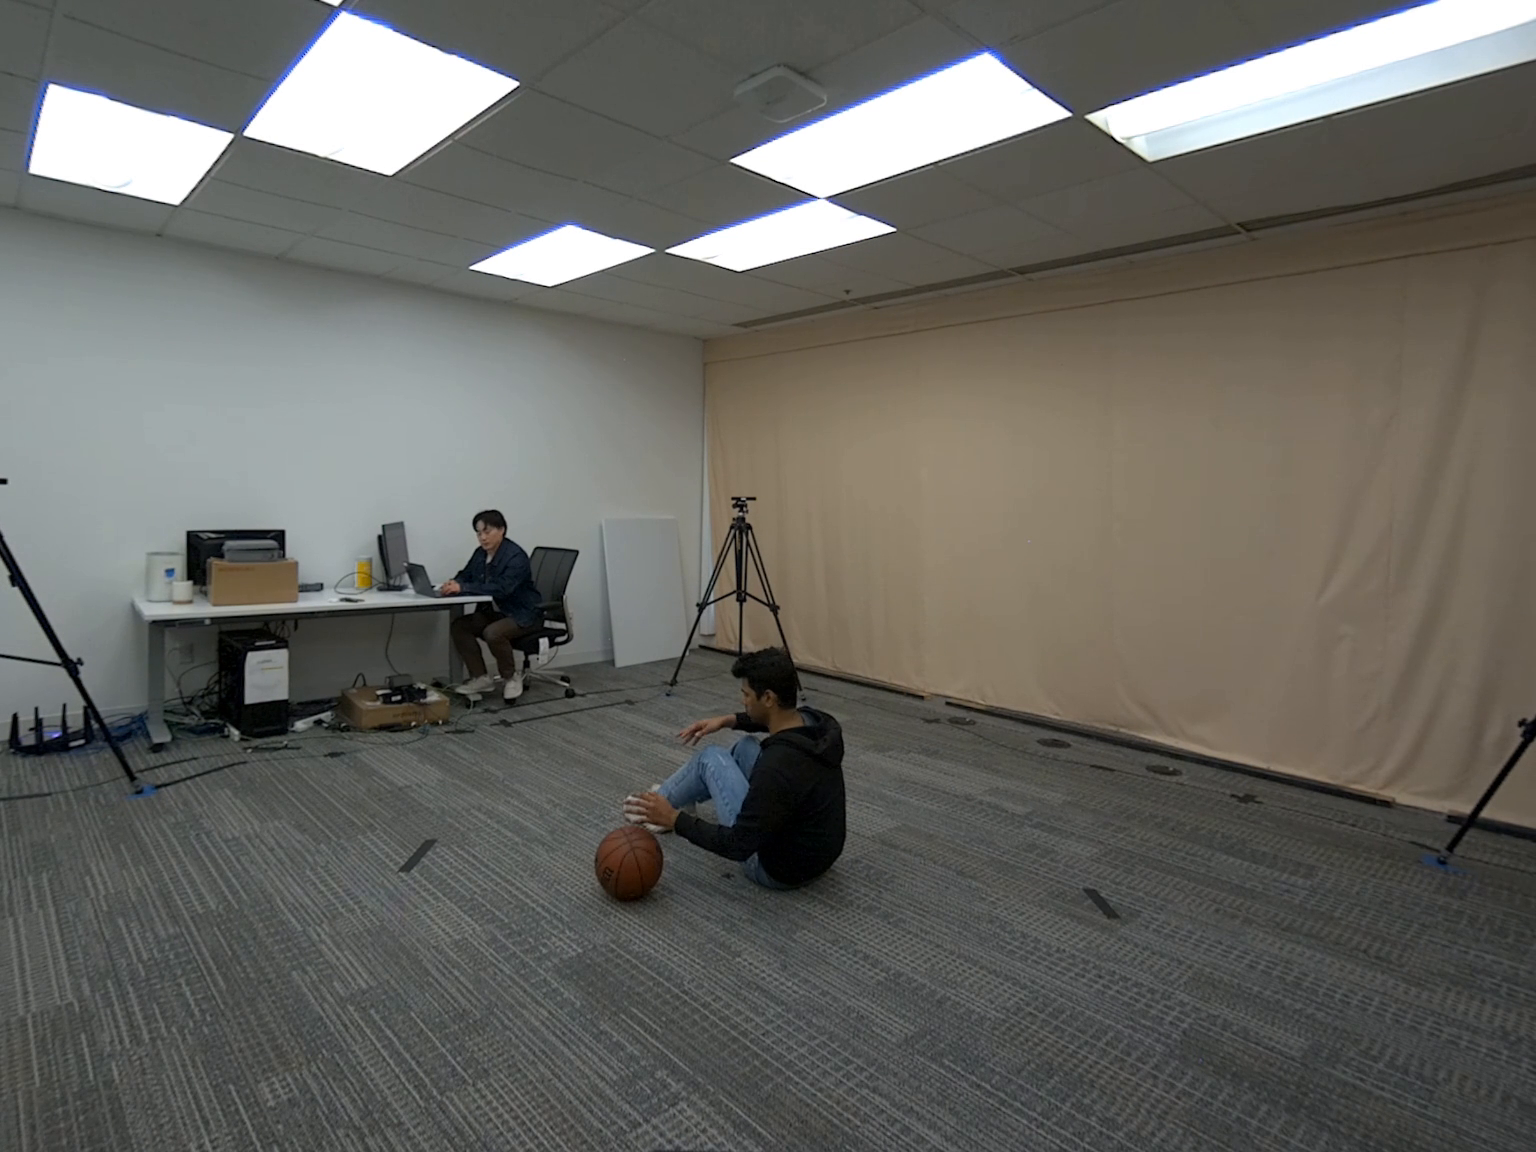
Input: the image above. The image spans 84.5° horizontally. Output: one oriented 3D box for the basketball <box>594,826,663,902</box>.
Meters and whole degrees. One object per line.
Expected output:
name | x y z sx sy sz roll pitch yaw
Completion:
basketball | -0.486 0.988 2.929 0.236 0.235 0.237 1 4 -1
